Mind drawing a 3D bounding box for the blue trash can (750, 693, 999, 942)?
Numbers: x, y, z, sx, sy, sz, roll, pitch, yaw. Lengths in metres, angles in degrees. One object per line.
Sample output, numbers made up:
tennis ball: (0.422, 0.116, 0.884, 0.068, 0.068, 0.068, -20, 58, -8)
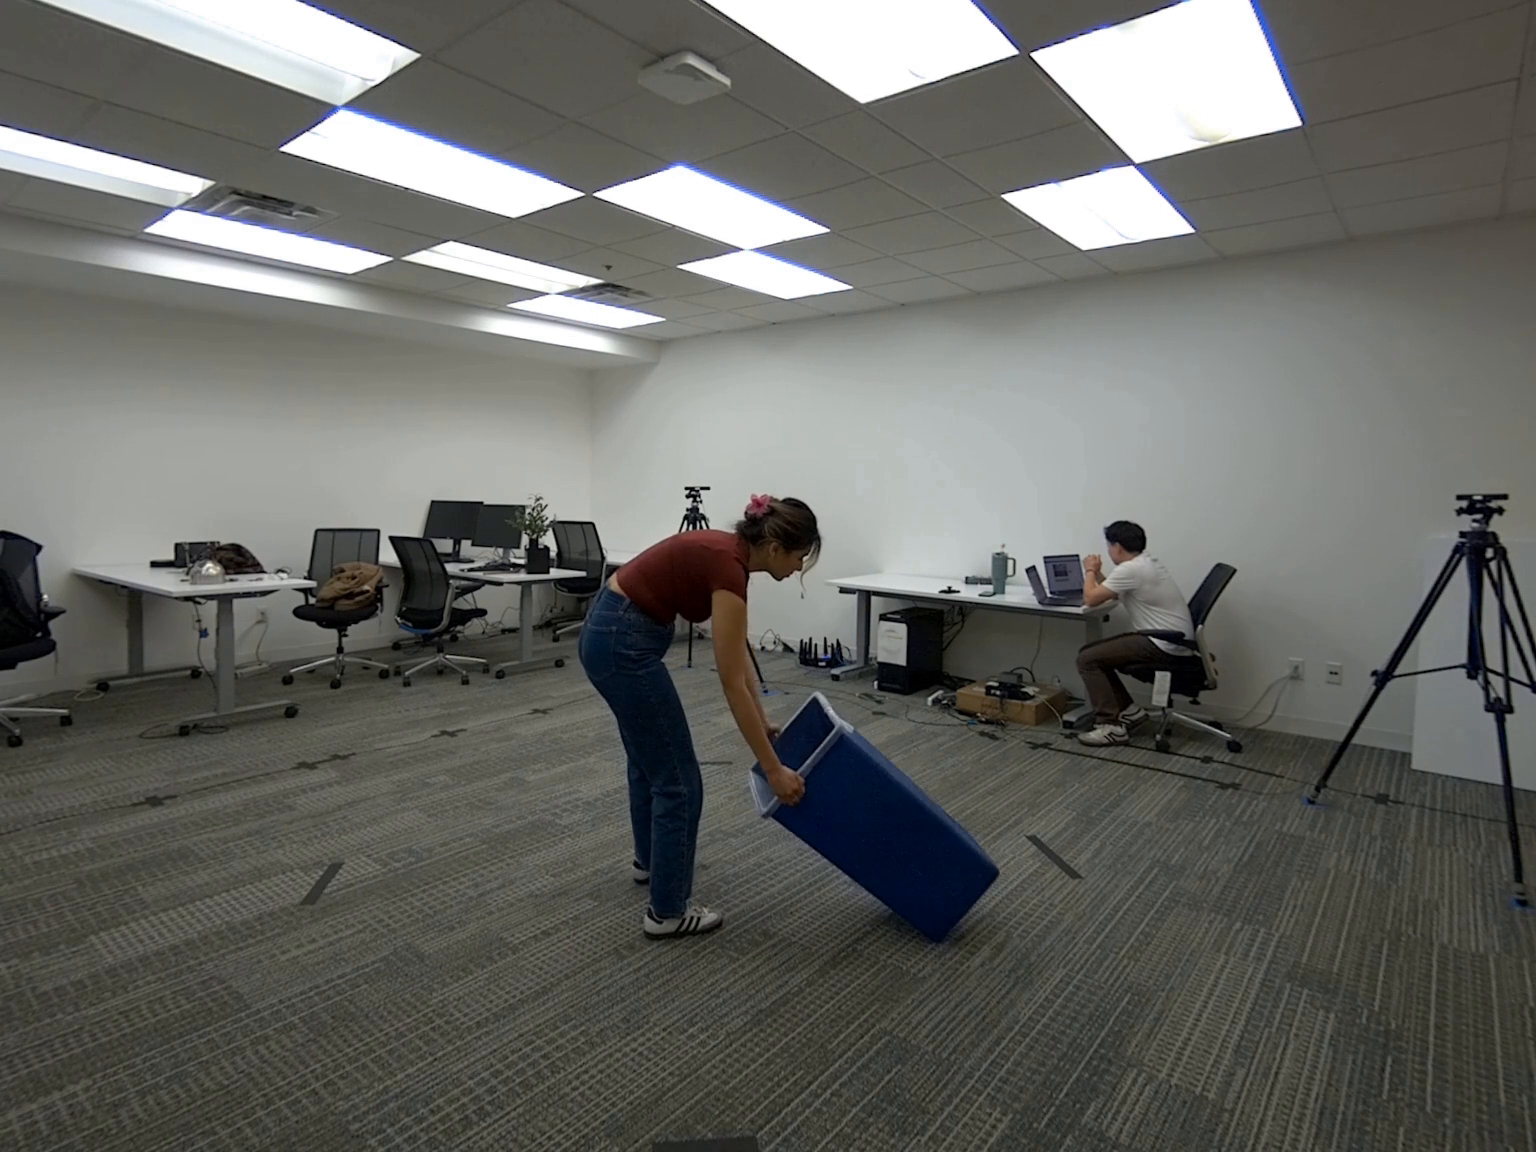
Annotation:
blue trash can: (0.315, 0.775, 2.713, 0.706, 0.374, 0.382, 42, 0, -8)
